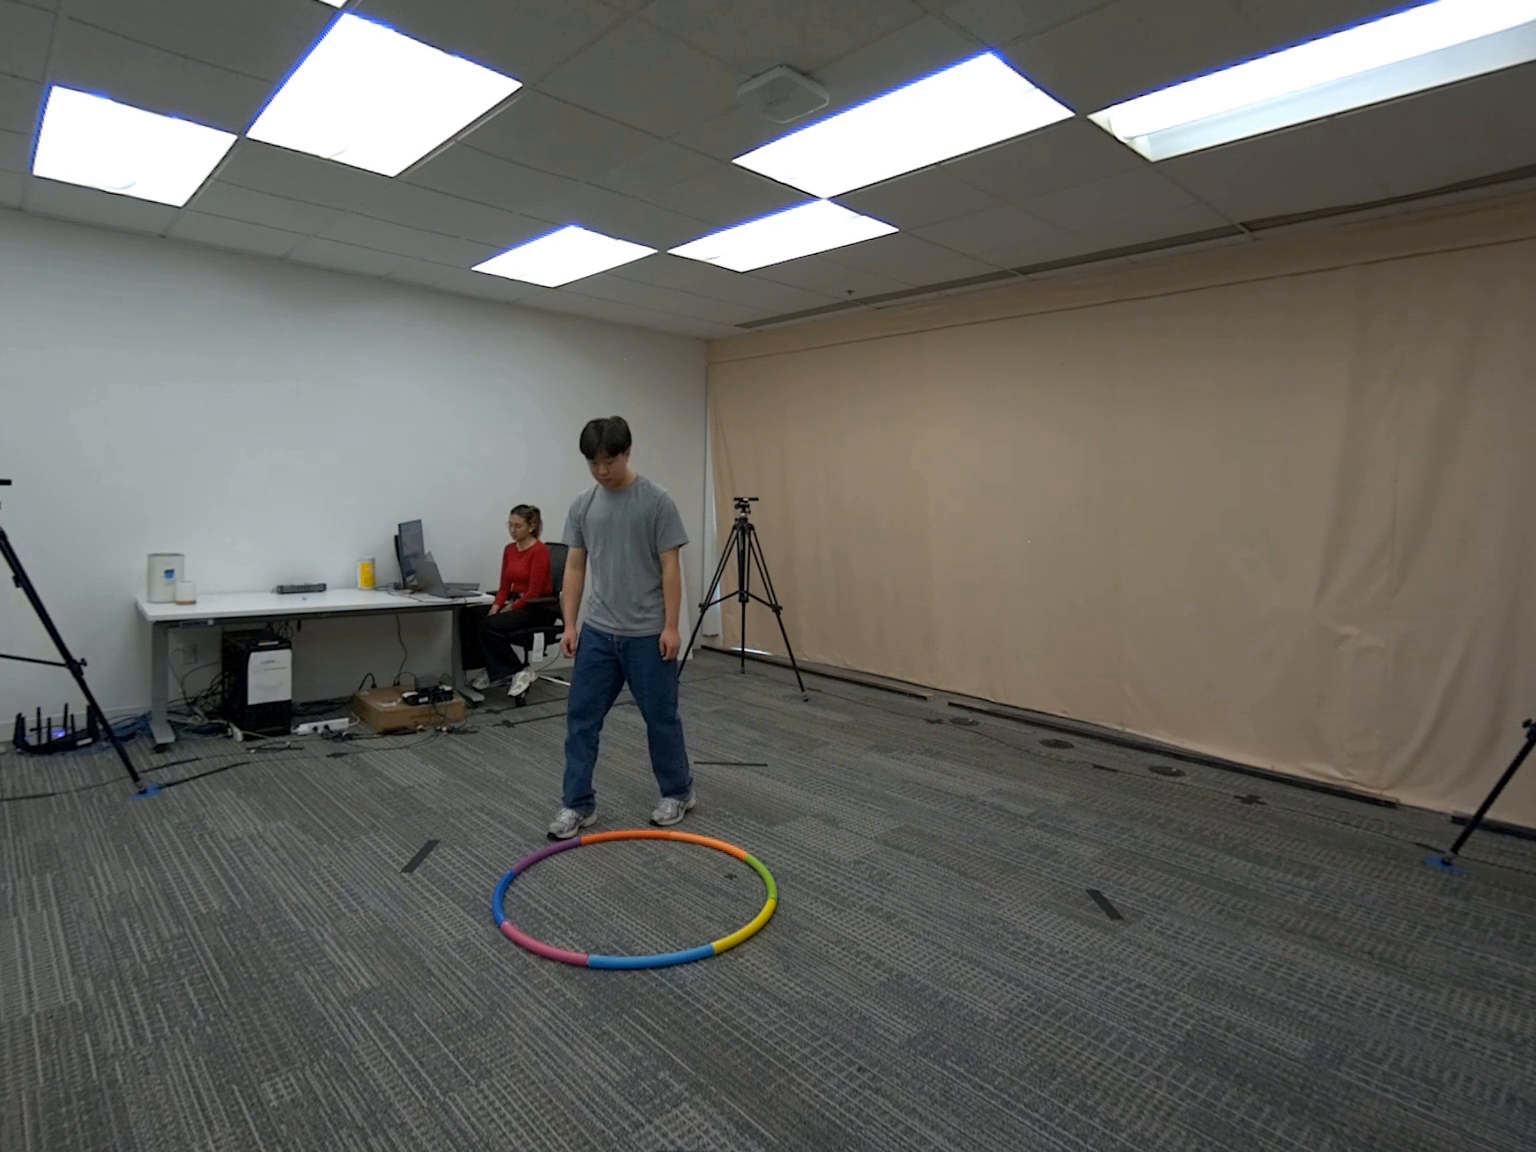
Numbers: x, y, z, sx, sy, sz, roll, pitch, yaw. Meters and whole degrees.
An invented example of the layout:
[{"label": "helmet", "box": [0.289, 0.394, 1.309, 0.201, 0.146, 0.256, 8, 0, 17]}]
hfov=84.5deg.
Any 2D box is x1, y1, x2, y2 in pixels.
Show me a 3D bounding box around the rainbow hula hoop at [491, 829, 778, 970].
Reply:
[{"label": "rainbow hula hoop", "box": [-0.464, 1.084, 2.957, 0.978, 0.035, 0.982, 1, 5, -1]}]
